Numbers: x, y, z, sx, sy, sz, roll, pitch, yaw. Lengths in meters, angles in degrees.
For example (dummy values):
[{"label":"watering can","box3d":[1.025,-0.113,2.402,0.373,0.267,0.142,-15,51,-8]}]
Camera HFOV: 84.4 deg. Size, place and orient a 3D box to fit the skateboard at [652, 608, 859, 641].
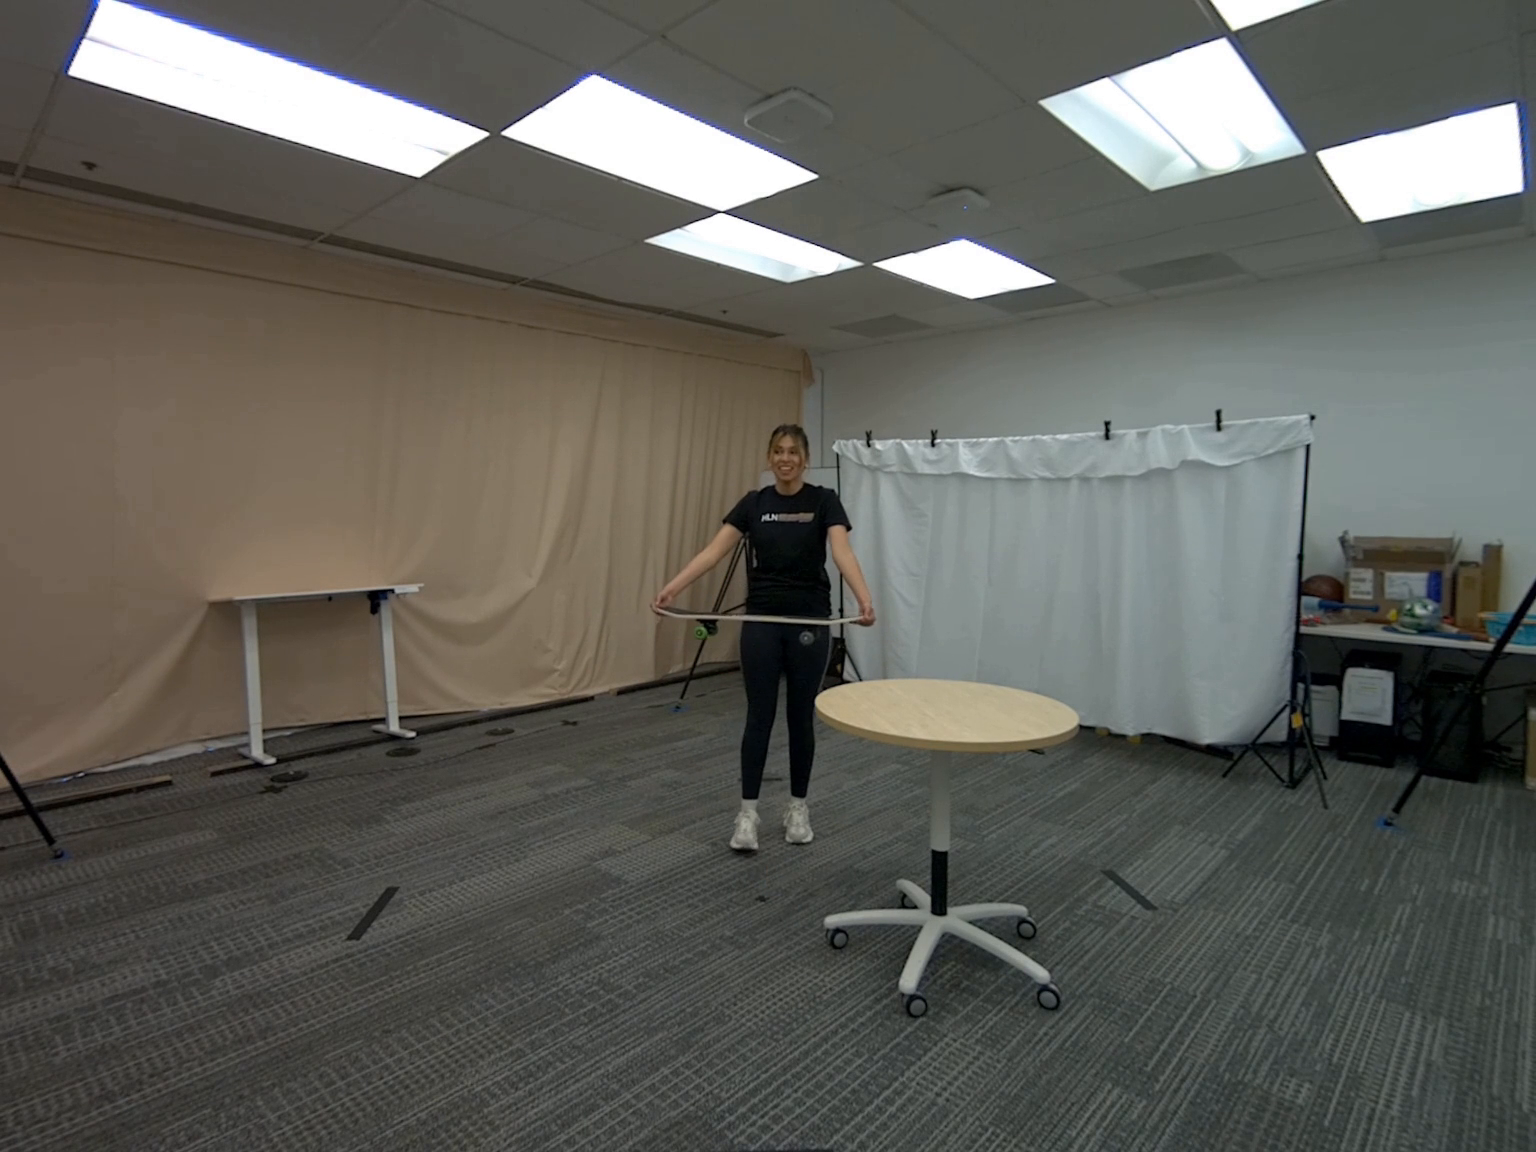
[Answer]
[{"label":"skateboard","box3d":[-0.029,0.195,3.154,0.799,0.110,0.190,2,1,15]}]
